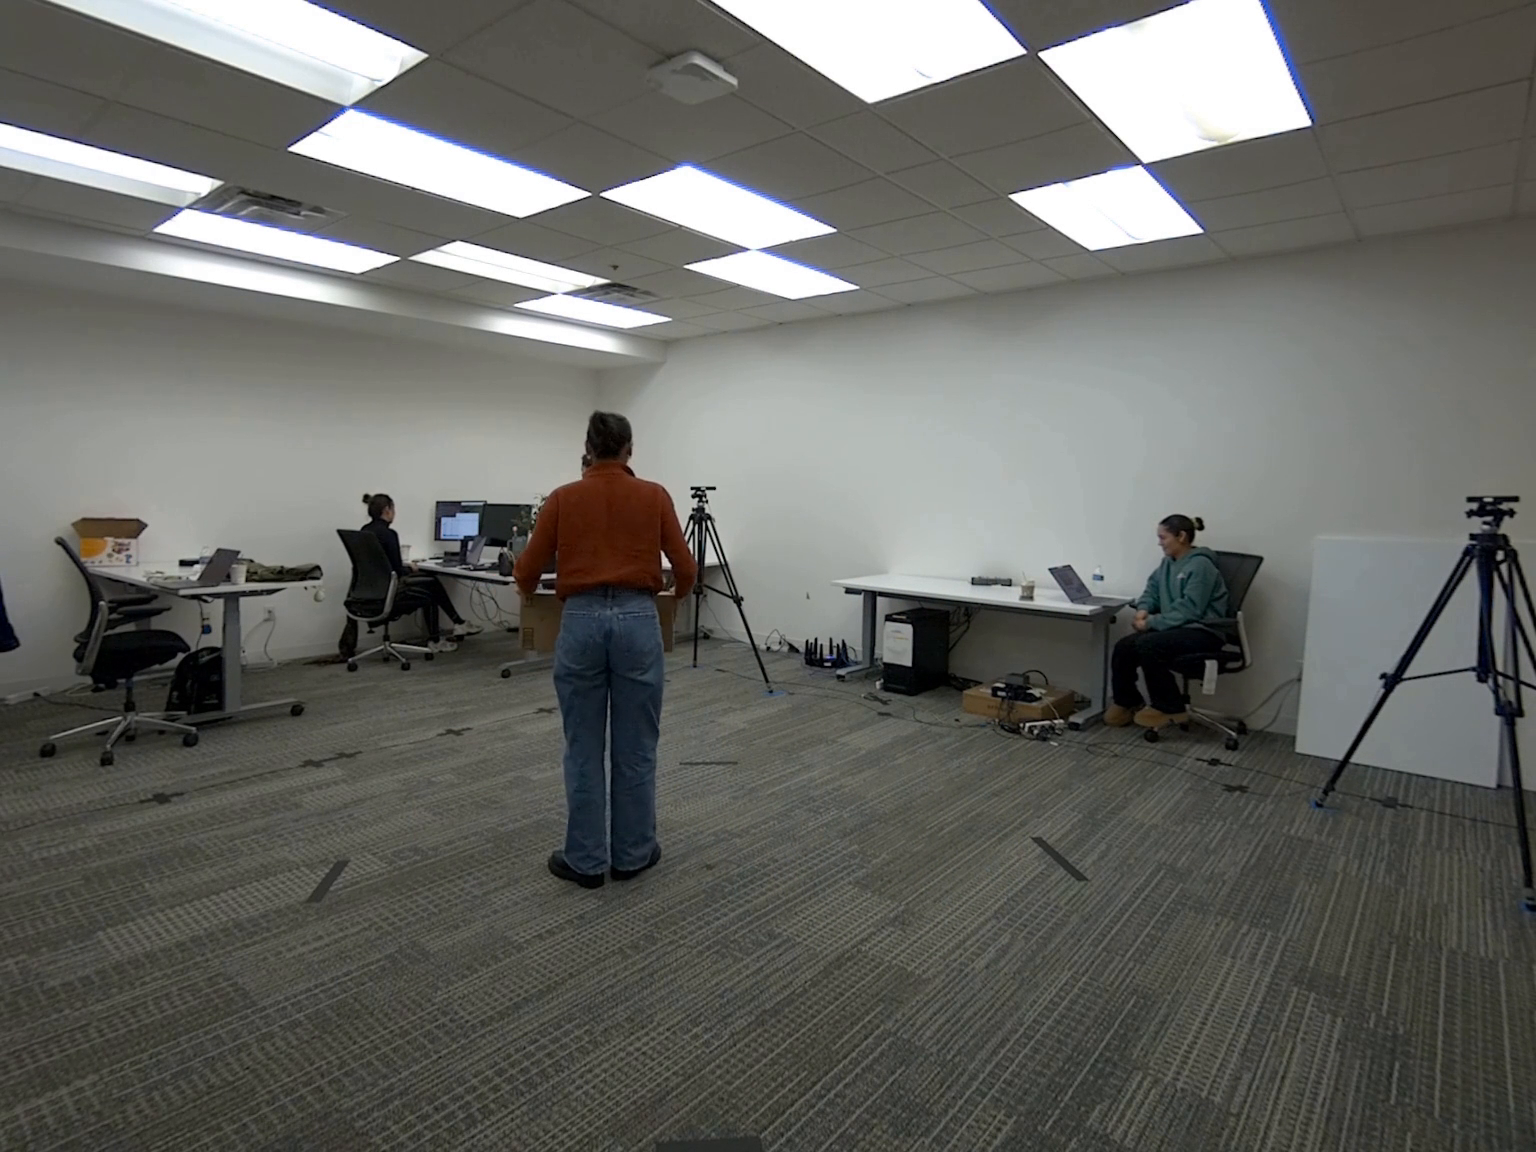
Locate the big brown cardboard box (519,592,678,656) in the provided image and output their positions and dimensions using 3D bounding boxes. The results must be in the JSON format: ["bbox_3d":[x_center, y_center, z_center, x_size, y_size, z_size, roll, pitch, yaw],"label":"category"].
[{"bbox_3d":[-0.658,0.167,3.343,0.586,0.233,0.419,0,0,-5],"label":"big brown cardboard box"}]
